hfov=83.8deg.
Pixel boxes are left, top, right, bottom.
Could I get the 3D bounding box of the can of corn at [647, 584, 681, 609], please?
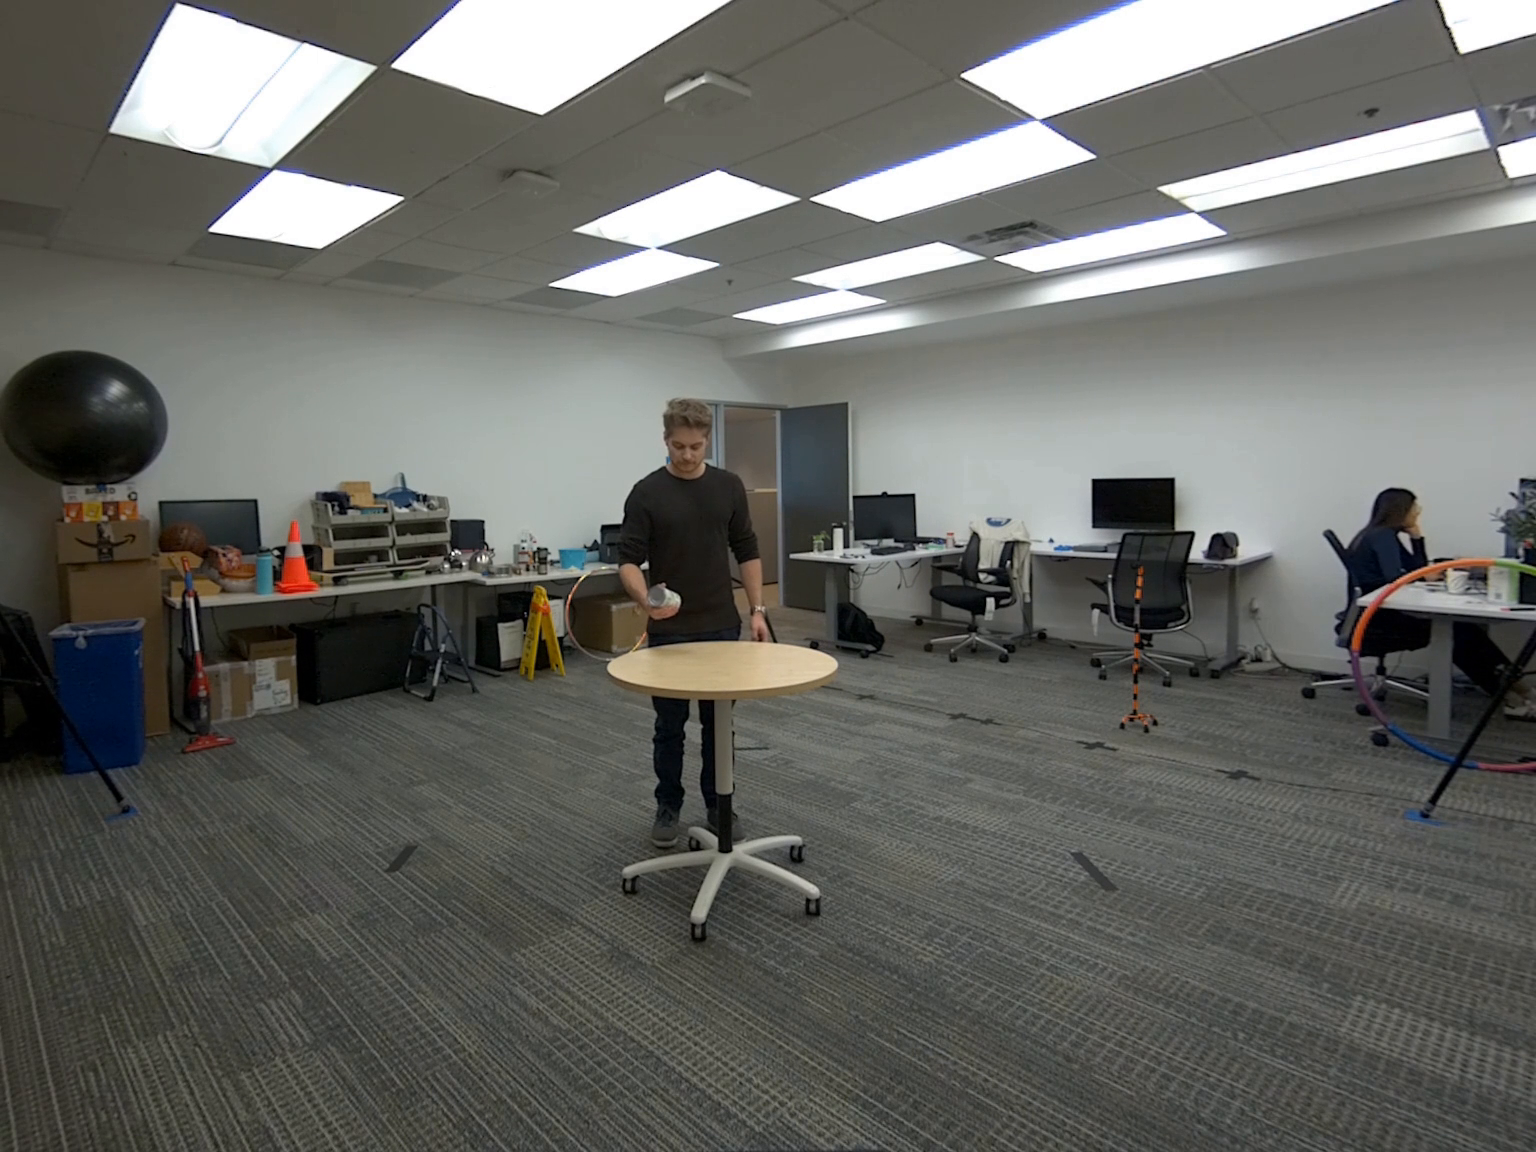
[{"bbox_3d":[-0.359,0.081,2.988,0.076,0.075,0.107,1,-12,23],"label":"can of corn"}]
